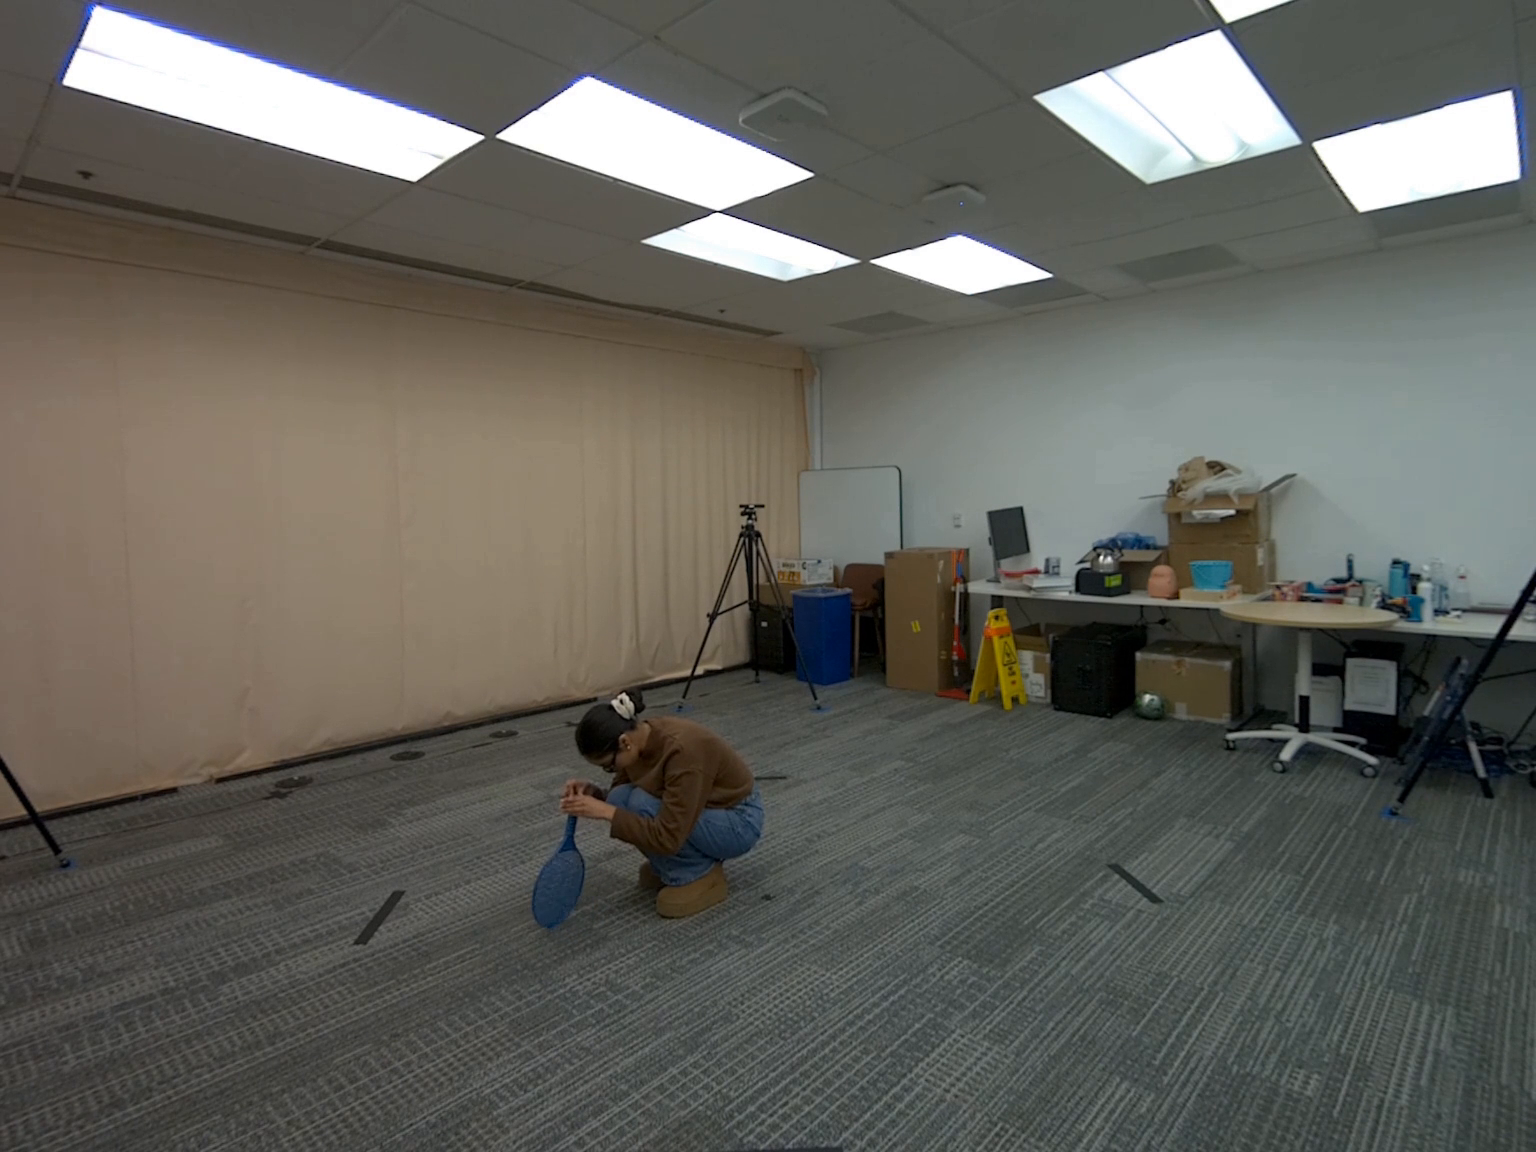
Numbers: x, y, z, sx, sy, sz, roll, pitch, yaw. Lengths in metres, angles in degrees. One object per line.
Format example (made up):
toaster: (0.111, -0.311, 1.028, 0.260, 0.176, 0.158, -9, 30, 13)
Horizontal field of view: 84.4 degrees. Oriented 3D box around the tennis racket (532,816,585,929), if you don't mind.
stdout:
tennis racket: (-0.682, 0.954, 2.818, 0.033, 0.433, 0.206, 10, 1, 38)
